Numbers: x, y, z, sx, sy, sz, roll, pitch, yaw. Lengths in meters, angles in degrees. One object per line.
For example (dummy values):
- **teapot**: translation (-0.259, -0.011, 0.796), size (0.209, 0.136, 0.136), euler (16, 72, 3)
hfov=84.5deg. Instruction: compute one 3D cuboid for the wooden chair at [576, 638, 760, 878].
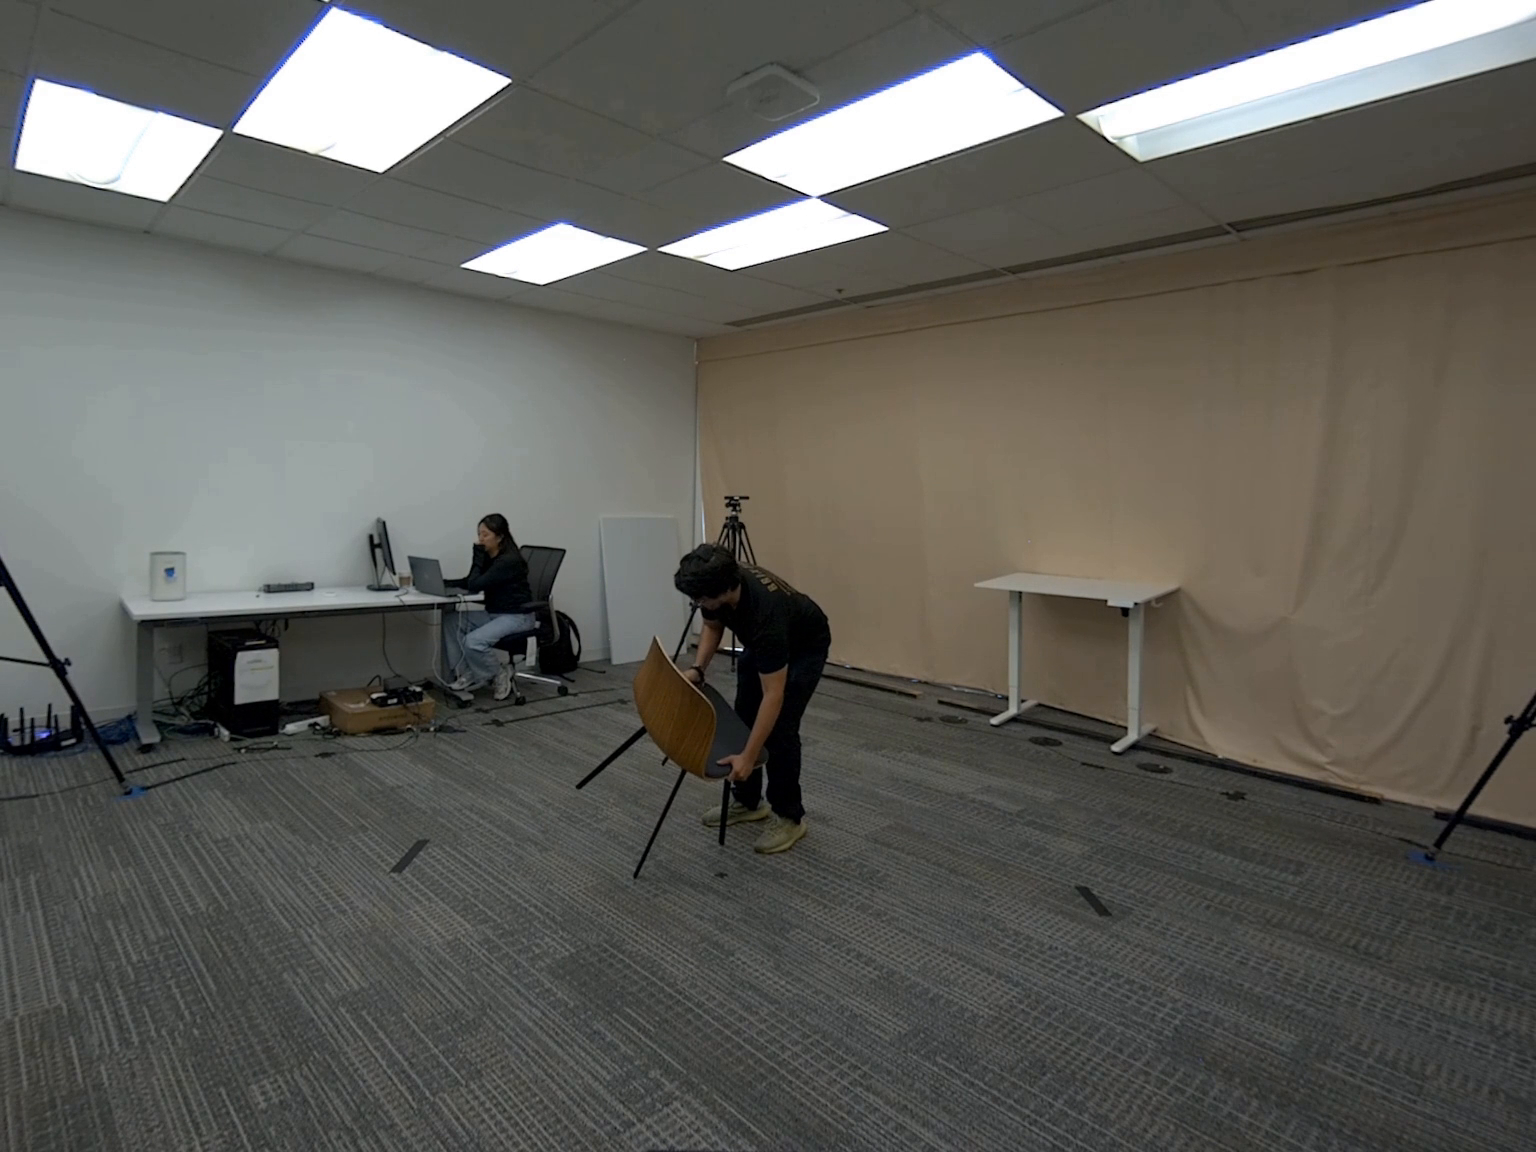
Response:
- **wooden chair**: translation (-0.299, 0.612, 3.158), size (0.512, 0.869, 0.493), euler (-7, 40, -43)
